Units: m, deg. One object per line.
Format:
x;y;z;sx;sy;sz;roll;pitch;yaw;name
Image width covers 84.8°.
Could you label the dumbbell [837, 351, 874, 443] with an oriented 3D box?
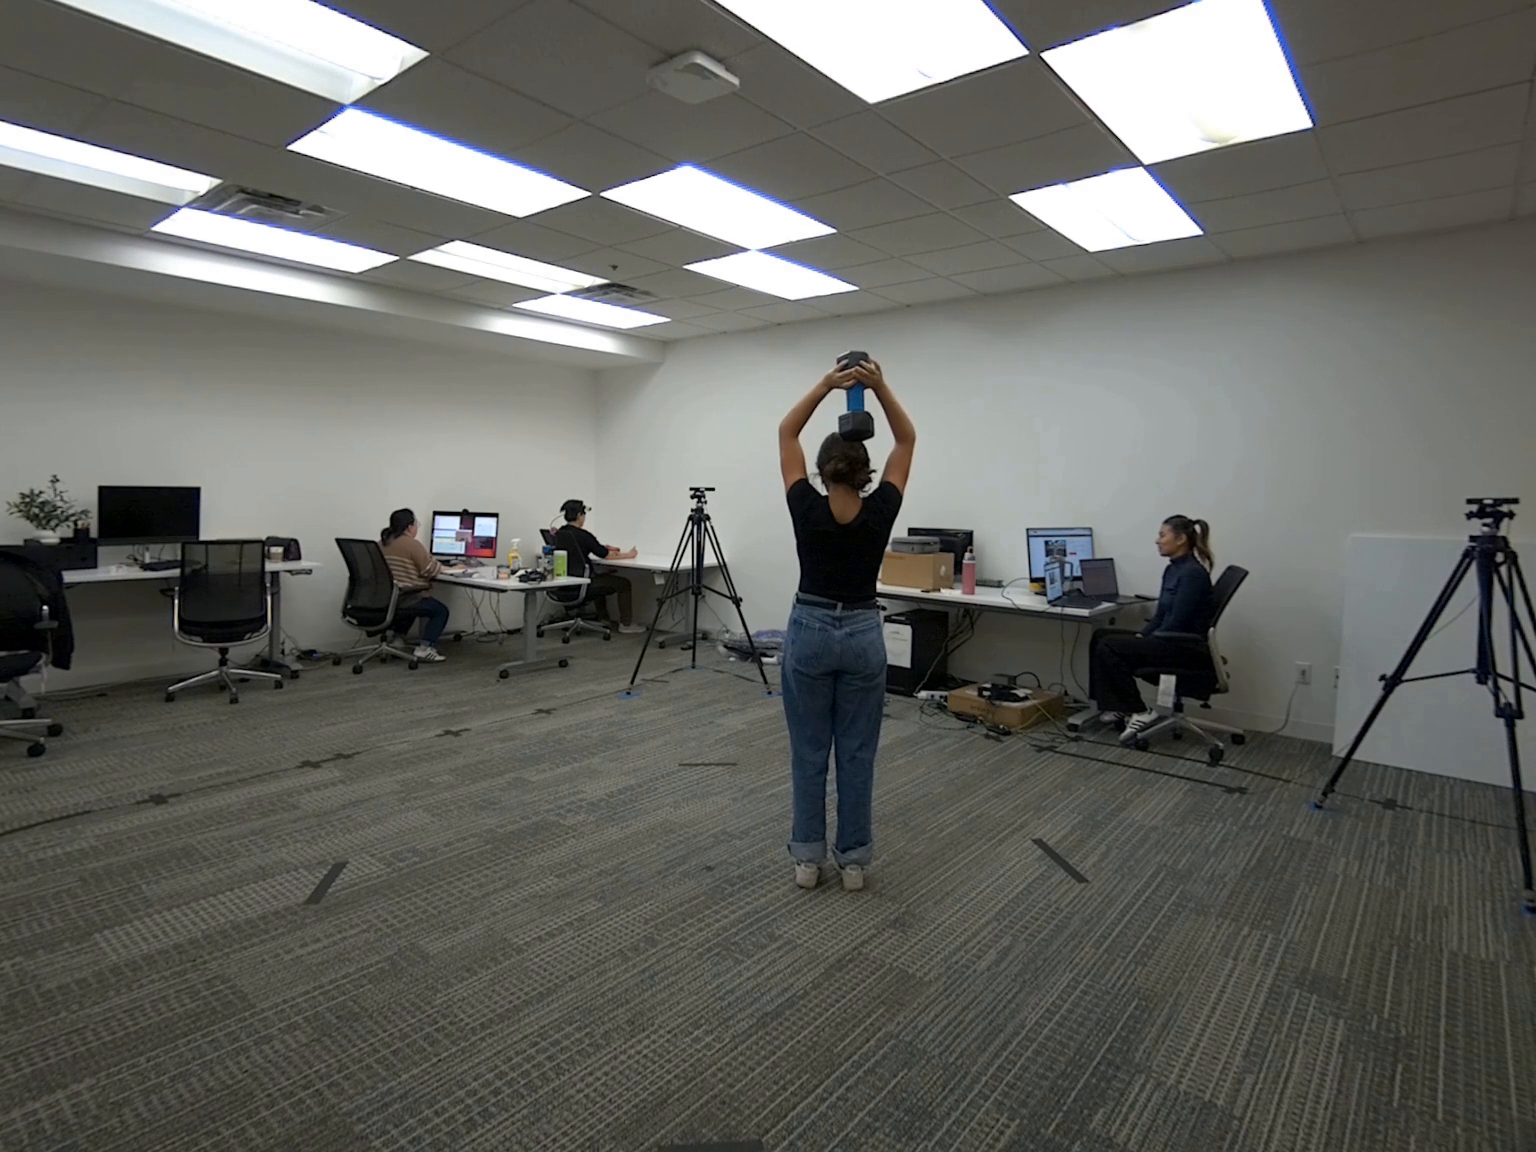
0.286;-0.597;2.851;0.111;0.297;0.118;-4;-15;25;dumbbell
